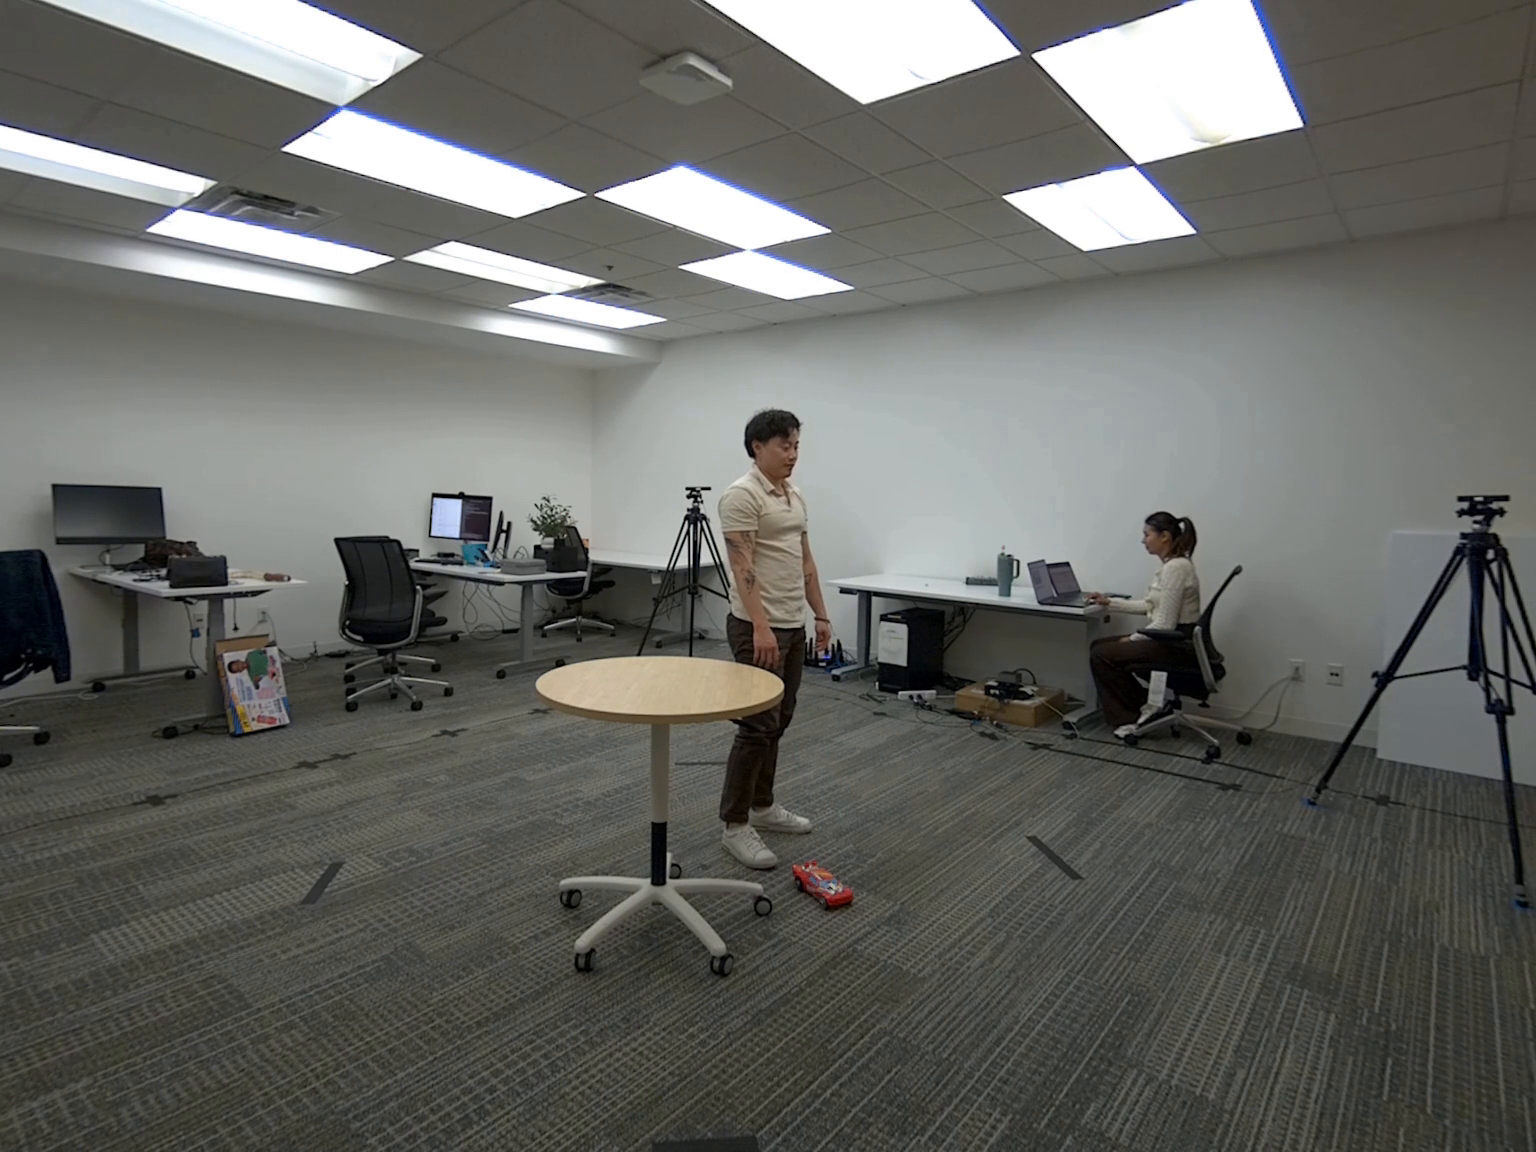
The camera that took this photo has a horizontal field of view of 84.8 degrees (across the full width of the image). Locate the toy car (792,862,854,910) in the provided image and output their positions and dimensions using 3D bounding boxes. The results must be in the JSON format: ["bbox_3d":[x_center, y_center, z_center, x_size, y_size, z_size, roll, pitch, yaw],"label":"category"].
[{"bbox_3d":[0.177,1.059,2.926,0.127,0.082,0.264,-1,16,-29],"label":"toy car"}]
